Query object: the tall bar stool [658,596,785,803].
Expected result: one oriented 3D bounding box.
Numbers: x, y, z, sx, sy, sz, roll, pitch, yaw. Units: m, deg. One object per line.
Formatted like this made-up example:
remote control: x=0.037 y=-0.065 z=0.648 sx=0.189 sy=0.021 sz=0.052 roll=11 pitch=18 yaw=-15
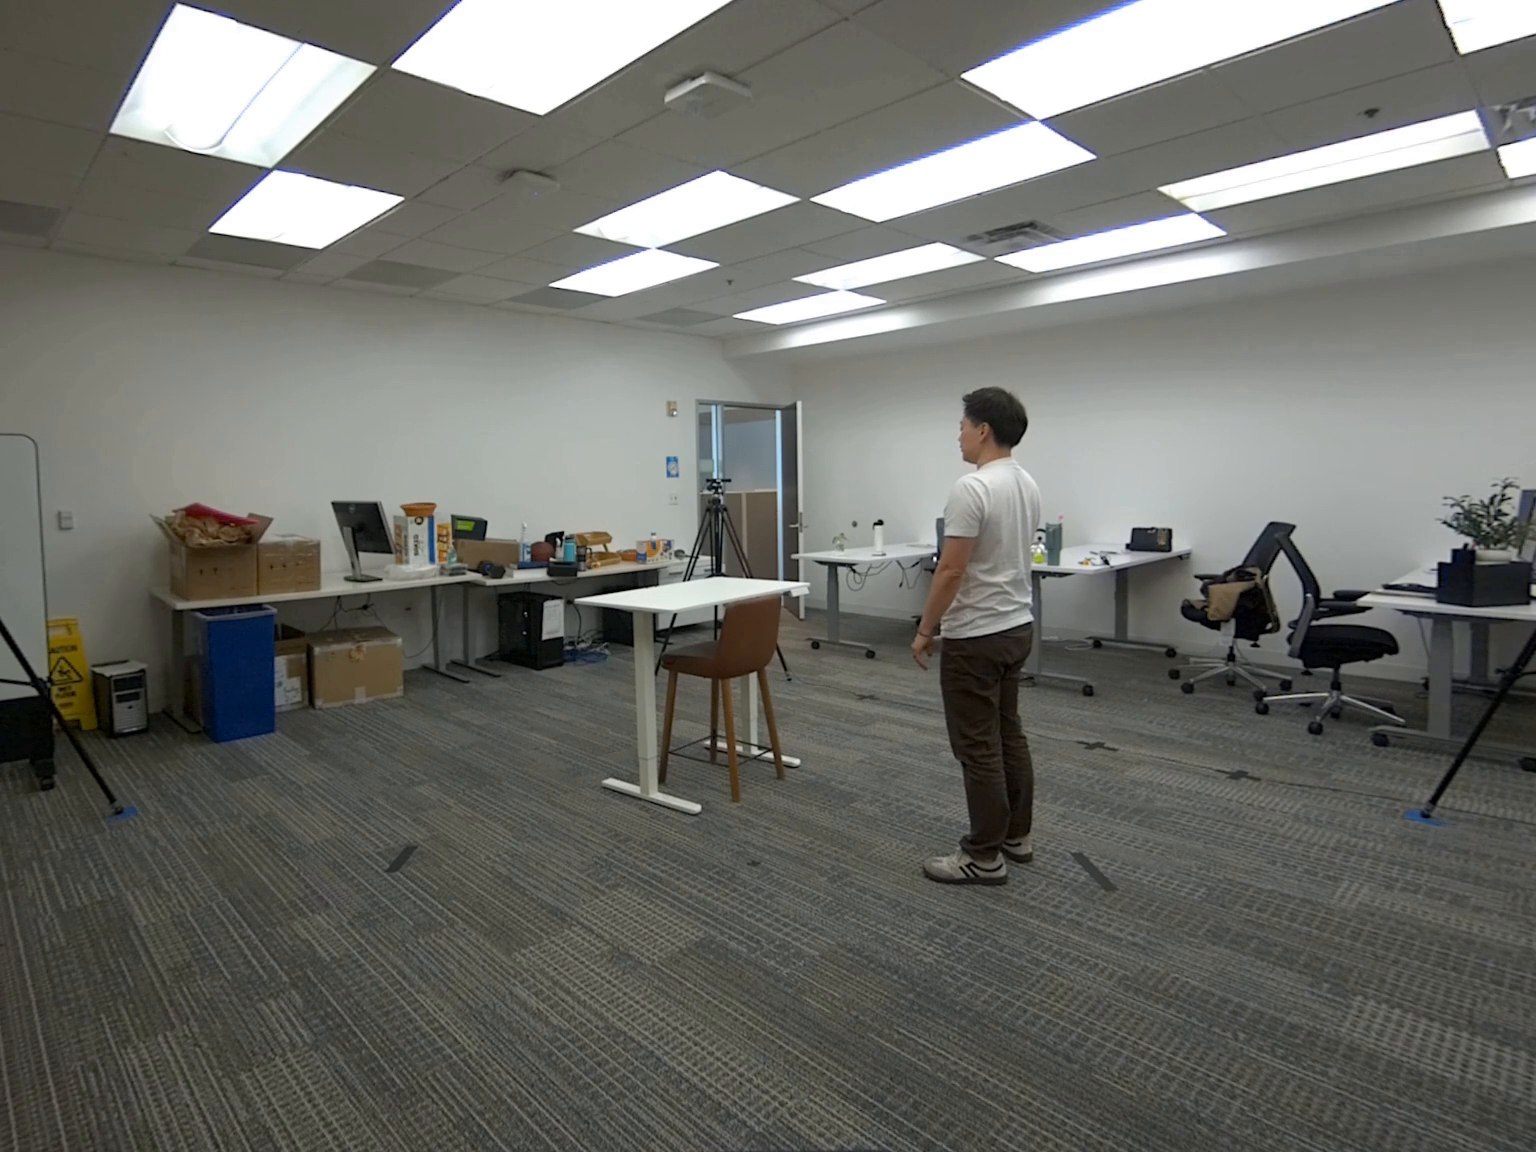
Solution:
tall bar stool: x=-0.215 y=0.521 z=3.953 sx=0.482 sy=0.886 sz=0.445 roll=3 pitch=6 yaw=38
